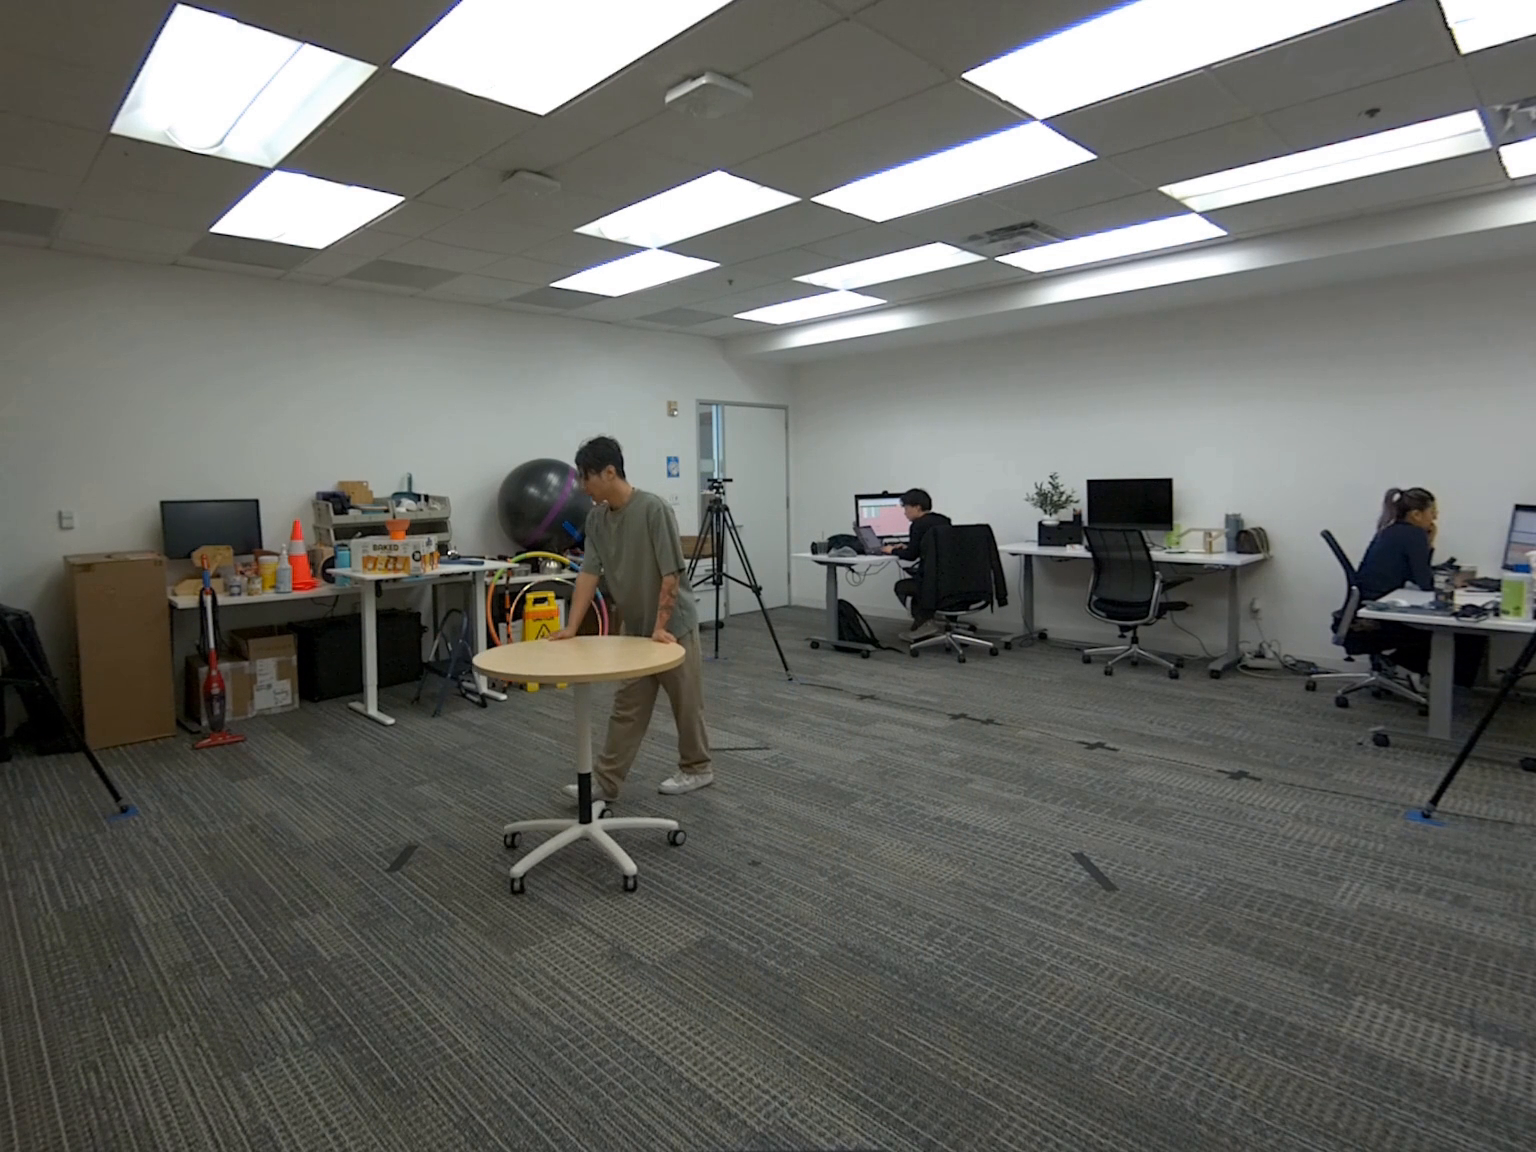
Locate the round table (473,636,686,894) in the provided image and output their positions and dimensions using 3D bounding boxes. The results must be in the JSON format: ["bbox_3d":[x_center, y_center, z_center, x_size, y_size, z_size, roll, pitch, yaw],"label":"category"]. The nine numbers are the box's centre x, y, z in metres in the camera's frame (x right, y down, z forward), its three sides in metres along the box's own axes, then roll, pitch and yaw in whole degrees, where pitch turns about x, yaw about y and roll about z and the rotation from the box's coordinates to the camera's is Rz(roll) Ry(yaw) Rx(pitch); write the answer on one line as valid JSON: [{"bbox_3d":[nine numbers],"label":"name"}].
[{"bbox_3d":[-0.690,0.667,3.144,0.784,0.784,0.788,-1,4,-2],"label":"round table"}]
